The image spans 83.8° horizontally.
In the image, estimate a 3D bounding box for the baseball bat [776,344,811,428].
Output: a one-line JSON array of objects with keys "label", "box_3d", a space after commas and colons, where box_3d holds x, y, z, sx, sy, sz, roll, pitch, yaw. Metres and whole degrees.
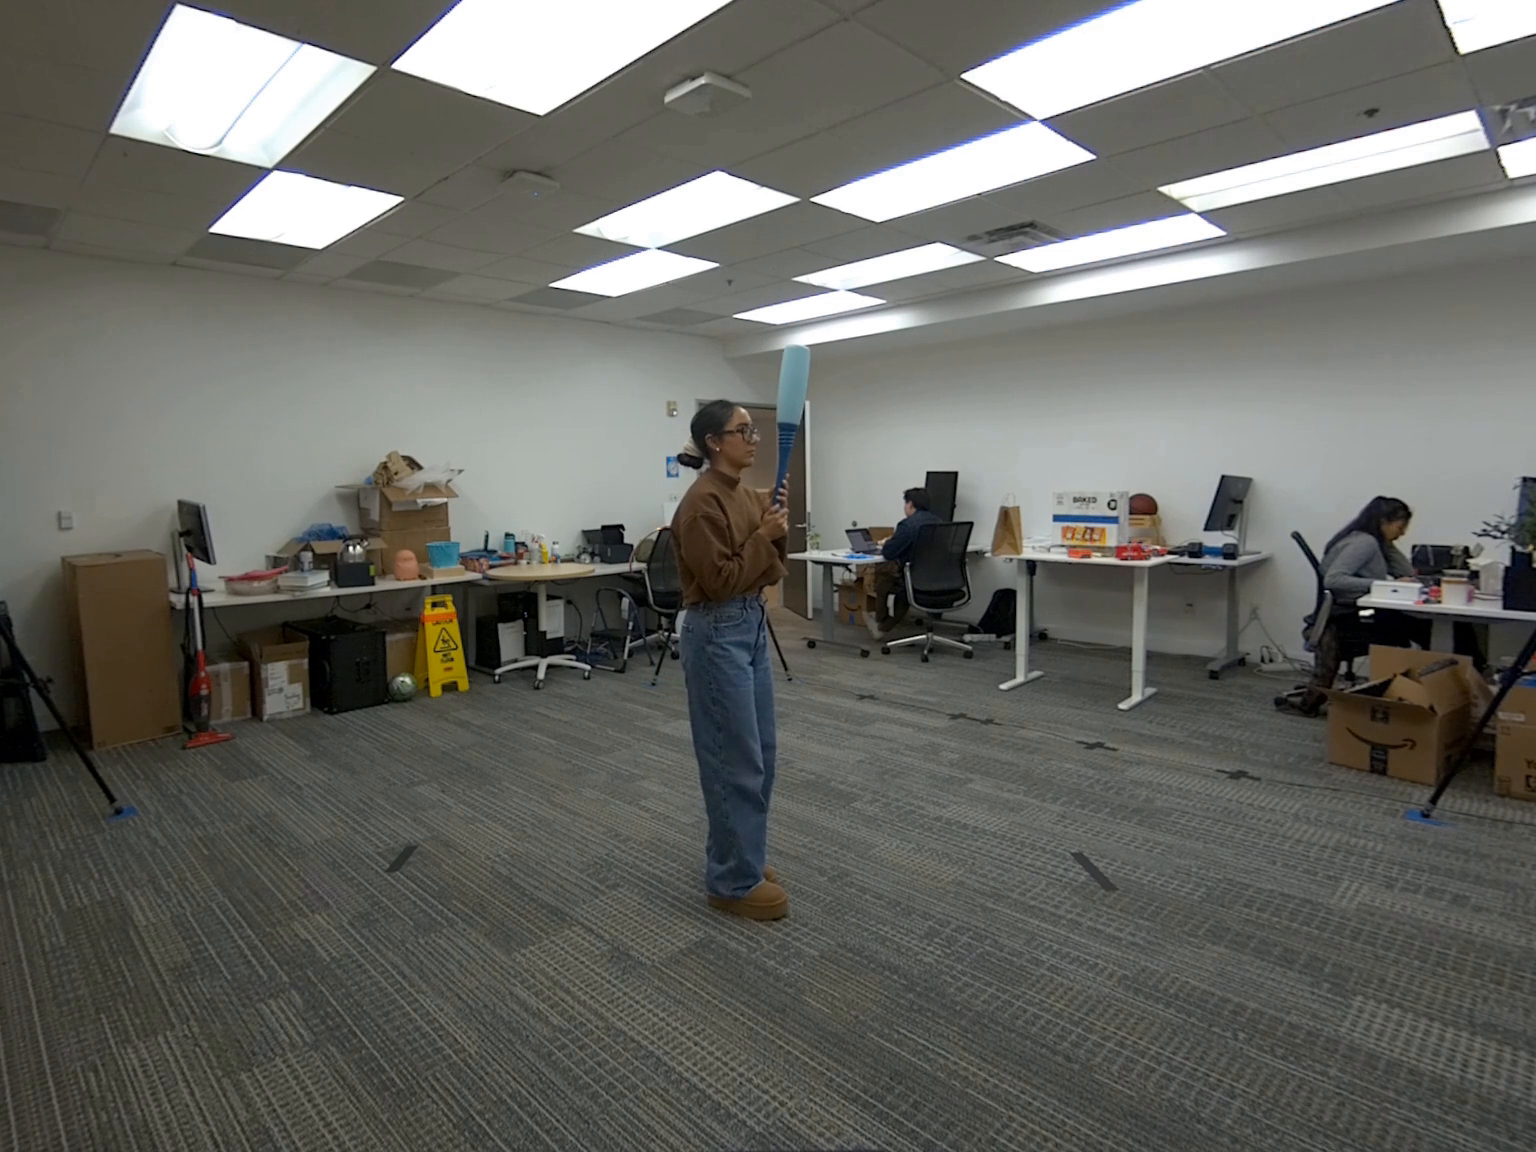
[{"label": "baseball bat", "box_3d": [0.056, -0.464, 2.712, 0.089, 0.542, 0.089, 7, 1, -2]}]
